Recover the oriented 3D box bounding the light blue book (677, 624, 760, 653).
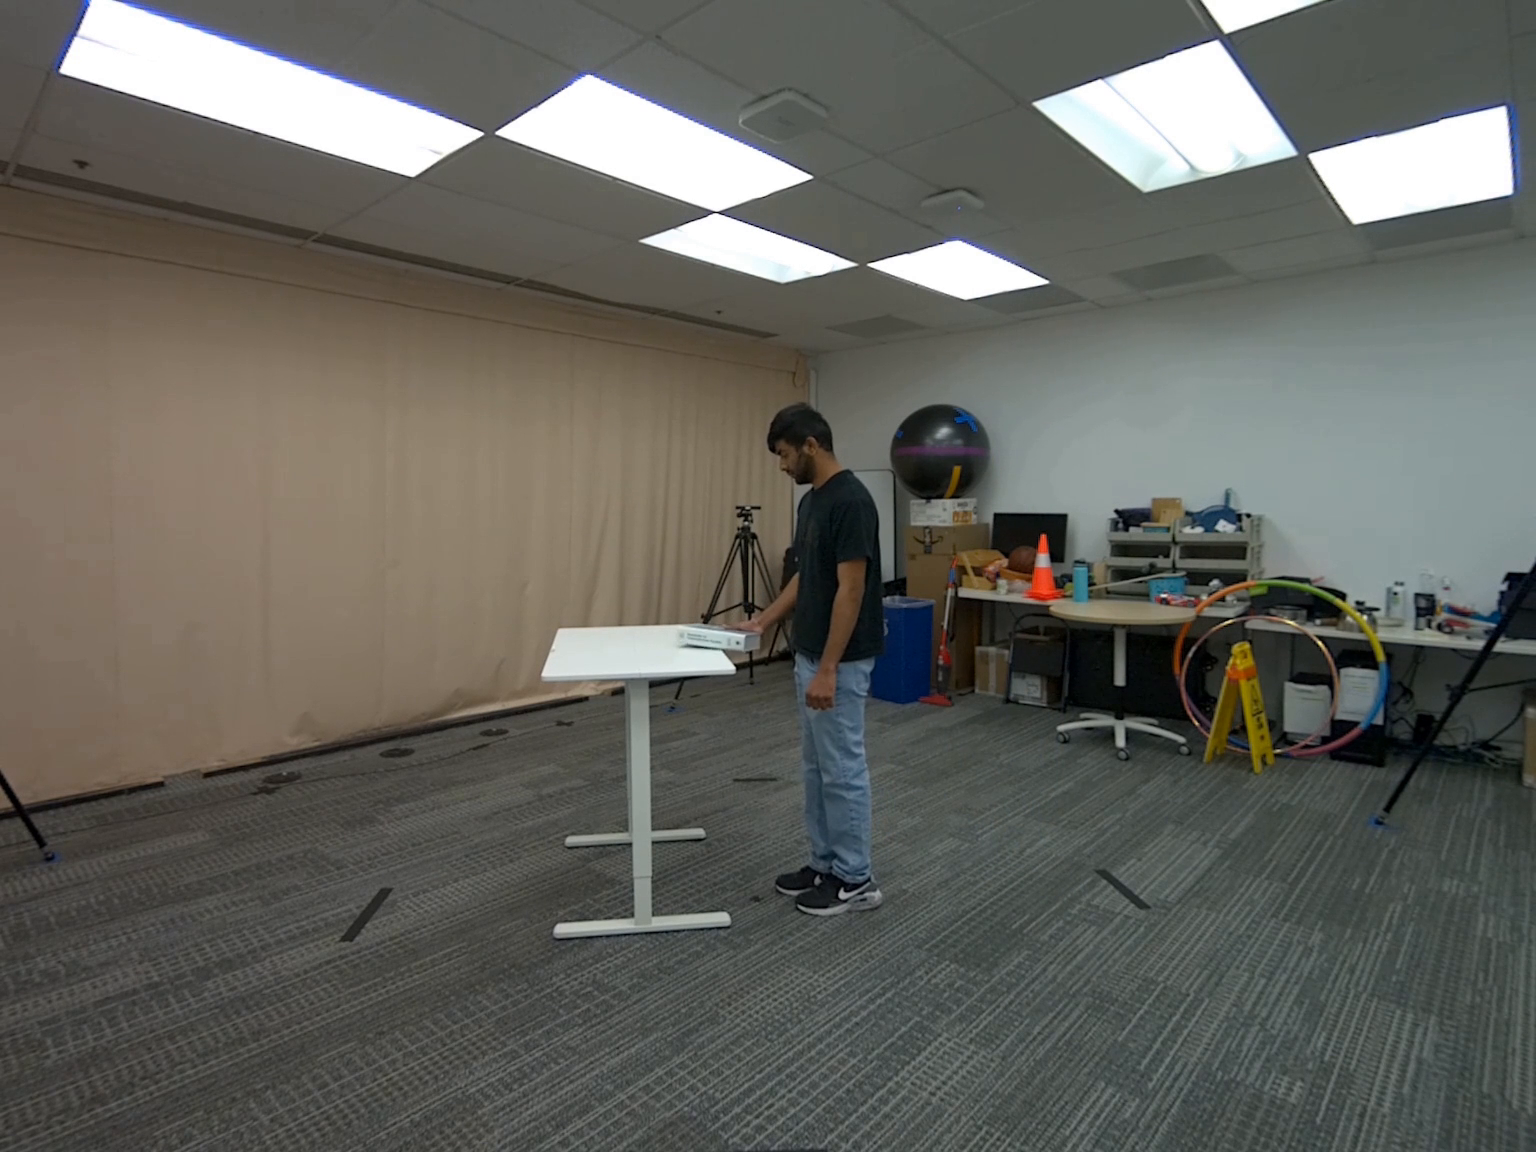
[{"bbox_3d":[-0.169,0.225,3.070,0.267,0.059,0.187,5,0,20],"label":"light blue book"}]
